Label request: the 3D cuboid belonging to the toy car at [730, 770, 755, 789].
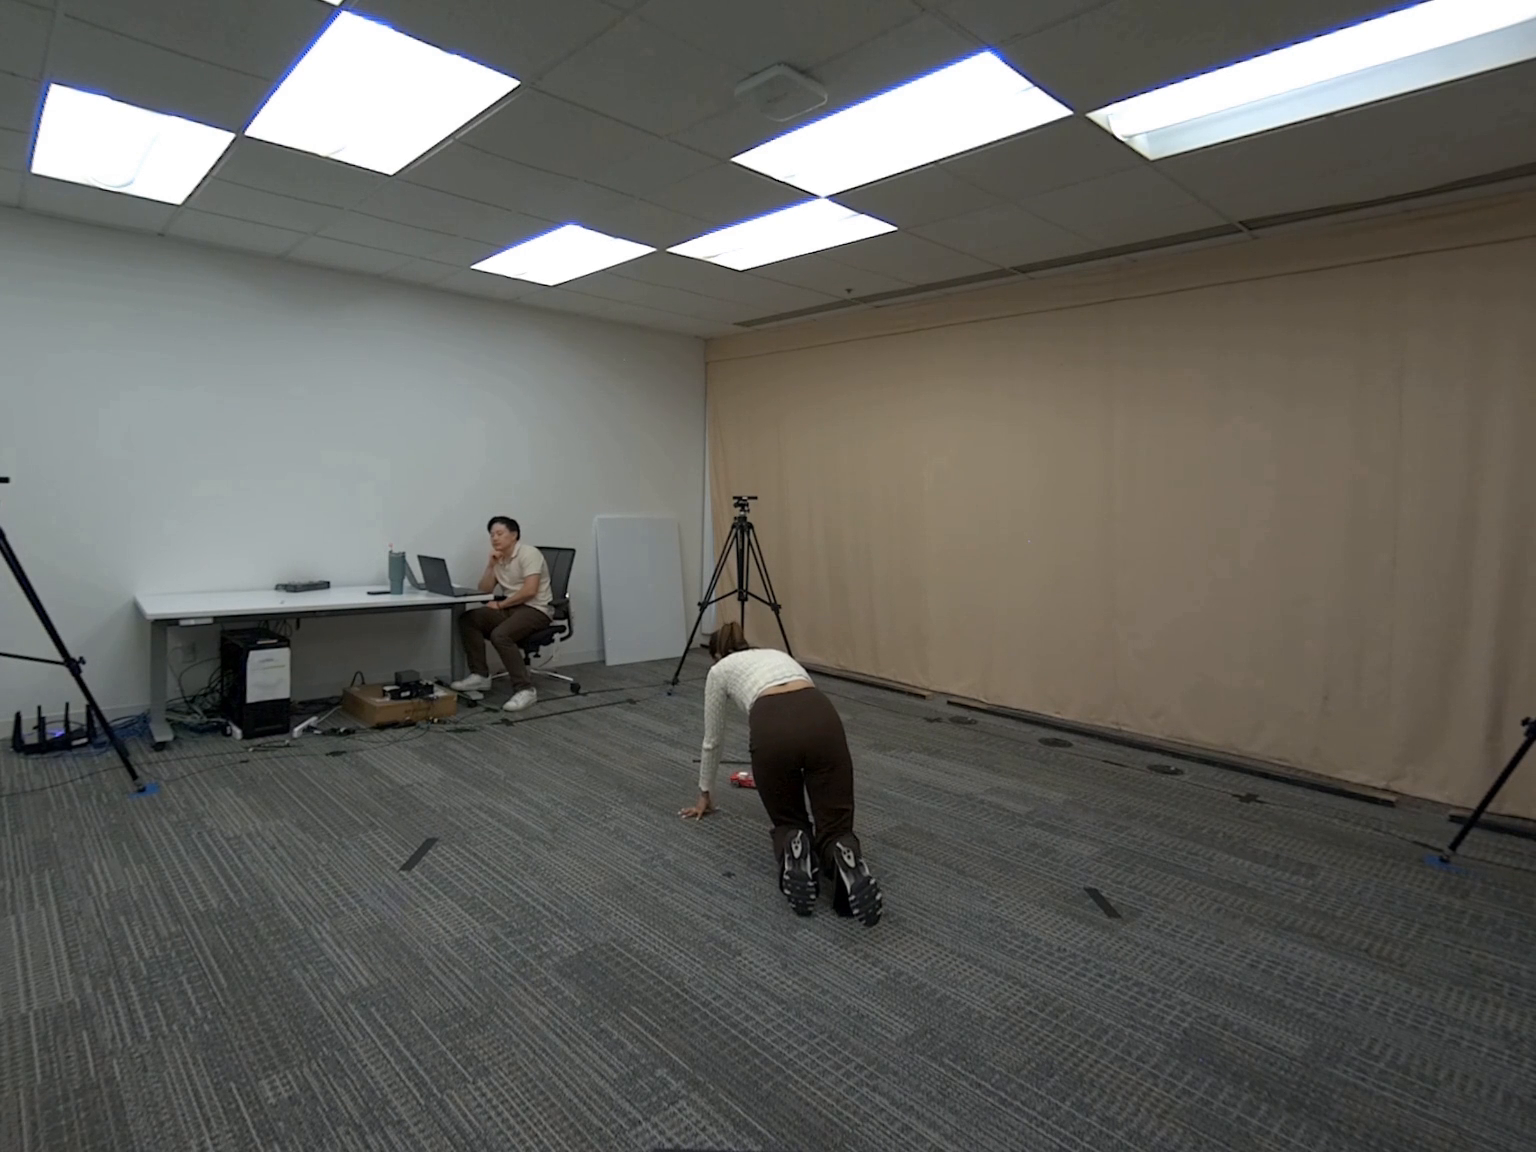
[{"bbox_3d":[-0.061,0.990,4.080,0.257,0.083,0.129,-7,2,16],"label":"toy car"}]
